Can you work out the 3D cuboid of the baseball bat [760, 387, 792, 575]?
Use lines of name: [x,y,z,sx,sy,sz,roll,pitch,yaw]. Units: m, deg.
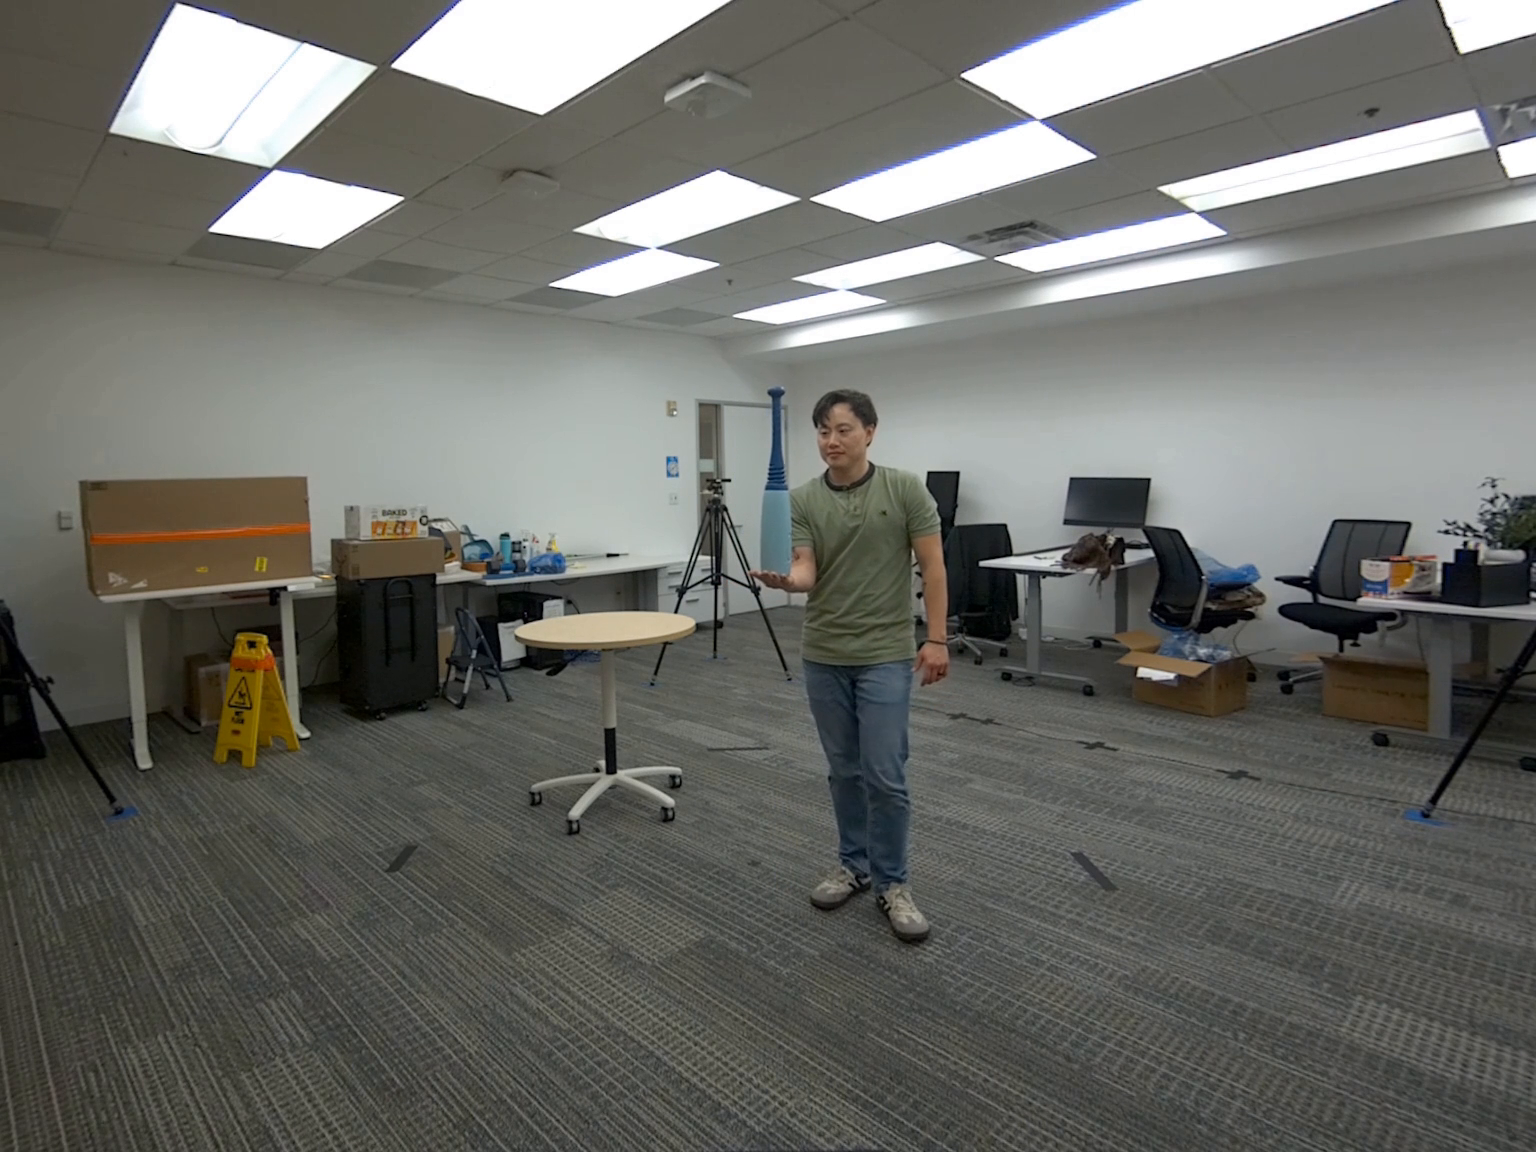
baseball bat: [0.014,-0.262,2.442,0.089,0.542,0.089,1,2,-2]
